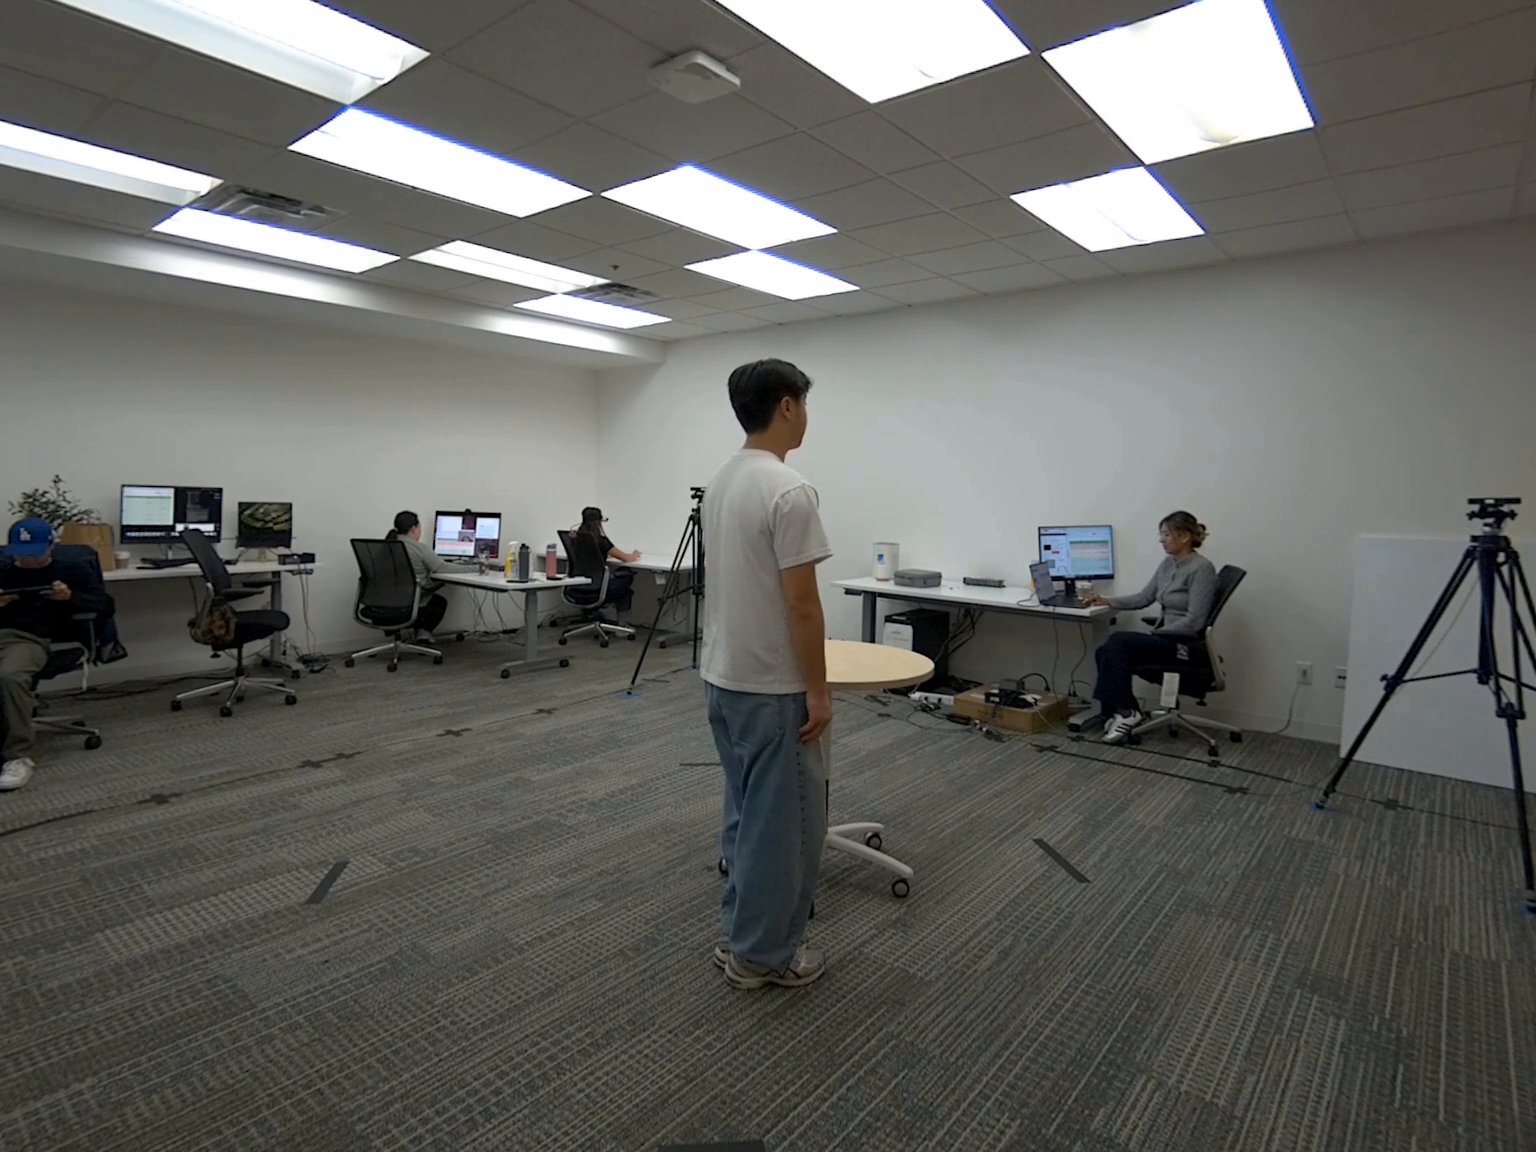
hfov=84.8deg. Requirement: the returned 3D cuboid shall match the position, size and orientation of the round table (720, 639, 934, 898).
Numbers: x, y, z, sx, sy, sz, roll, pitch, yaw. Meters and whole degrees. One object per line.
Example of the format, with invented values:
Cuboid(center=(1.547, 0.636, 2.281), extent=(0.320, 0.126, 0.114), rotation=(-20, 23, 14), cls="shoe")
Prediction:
Cuboid(center=(0.177, 0.682, 3.099), extent=(0.784, 0.784, 0.789), rotation=(1, 4, -2), cls="round table")
